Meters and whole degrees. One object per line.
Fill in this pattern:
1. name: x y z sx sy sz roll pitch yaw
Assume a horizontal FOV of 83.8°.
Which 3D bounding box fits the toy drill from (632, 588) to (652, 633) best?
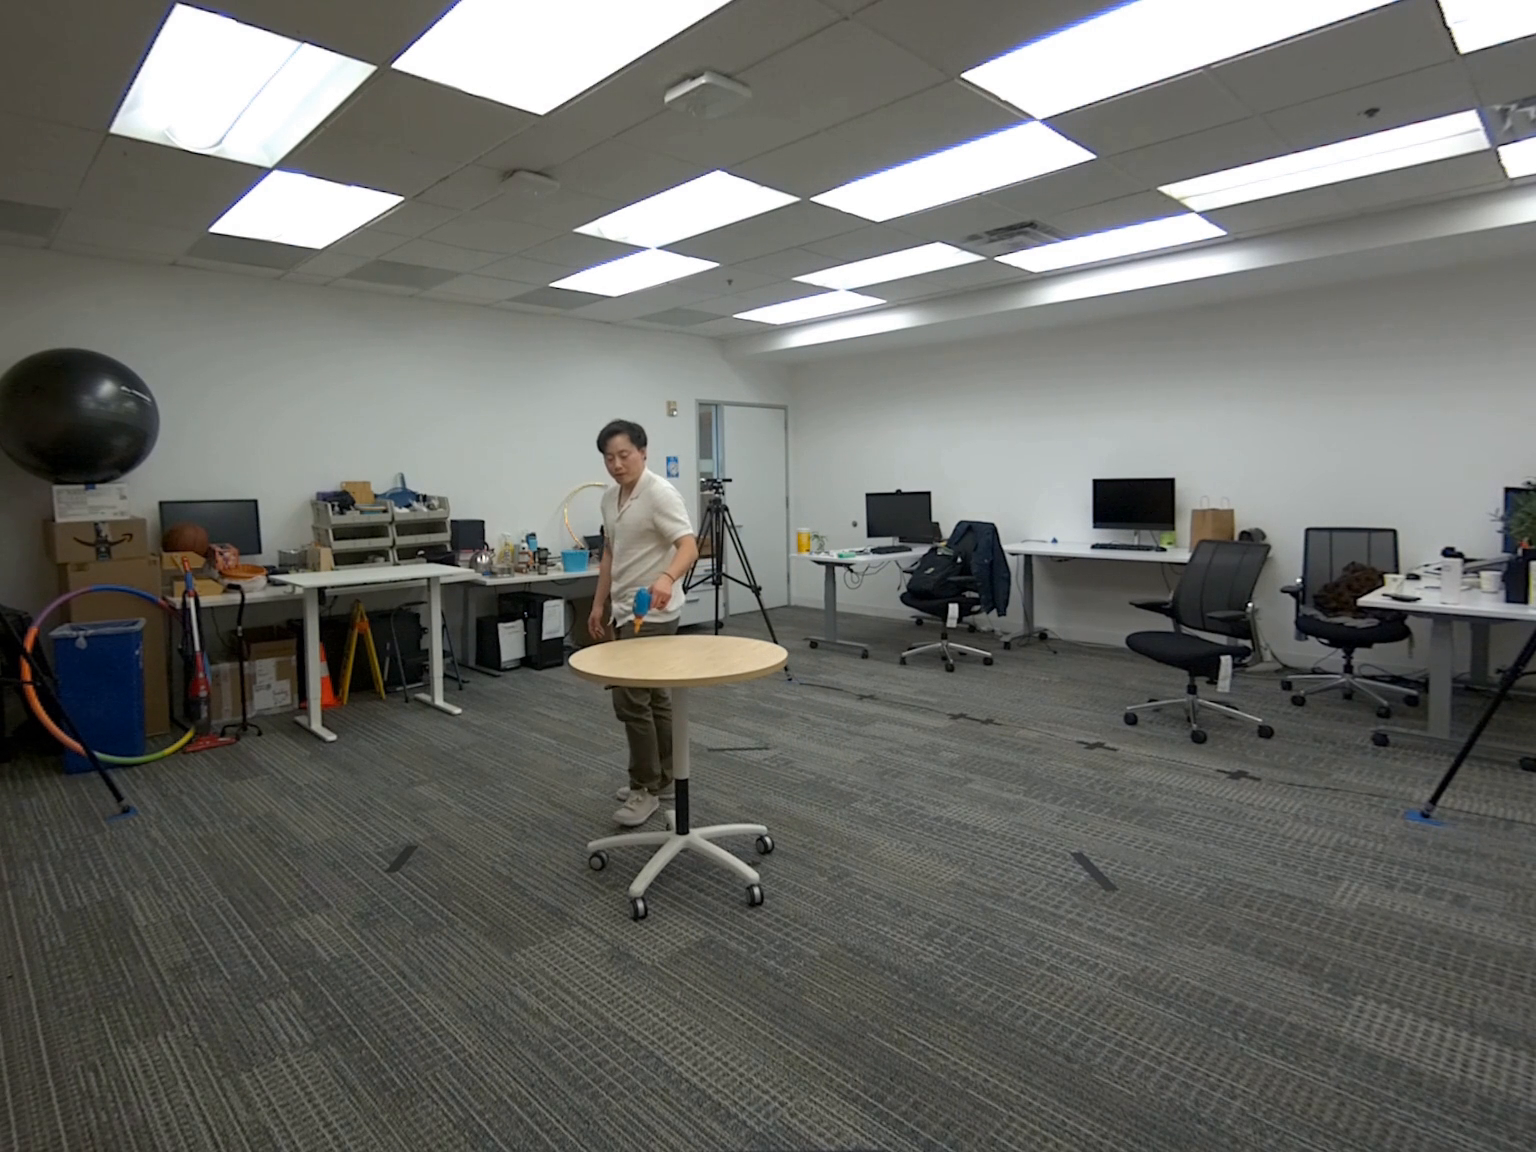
1. toy drill: -0.463 0.134 3.242 0.063 0.170 0.141 6 -1 42
